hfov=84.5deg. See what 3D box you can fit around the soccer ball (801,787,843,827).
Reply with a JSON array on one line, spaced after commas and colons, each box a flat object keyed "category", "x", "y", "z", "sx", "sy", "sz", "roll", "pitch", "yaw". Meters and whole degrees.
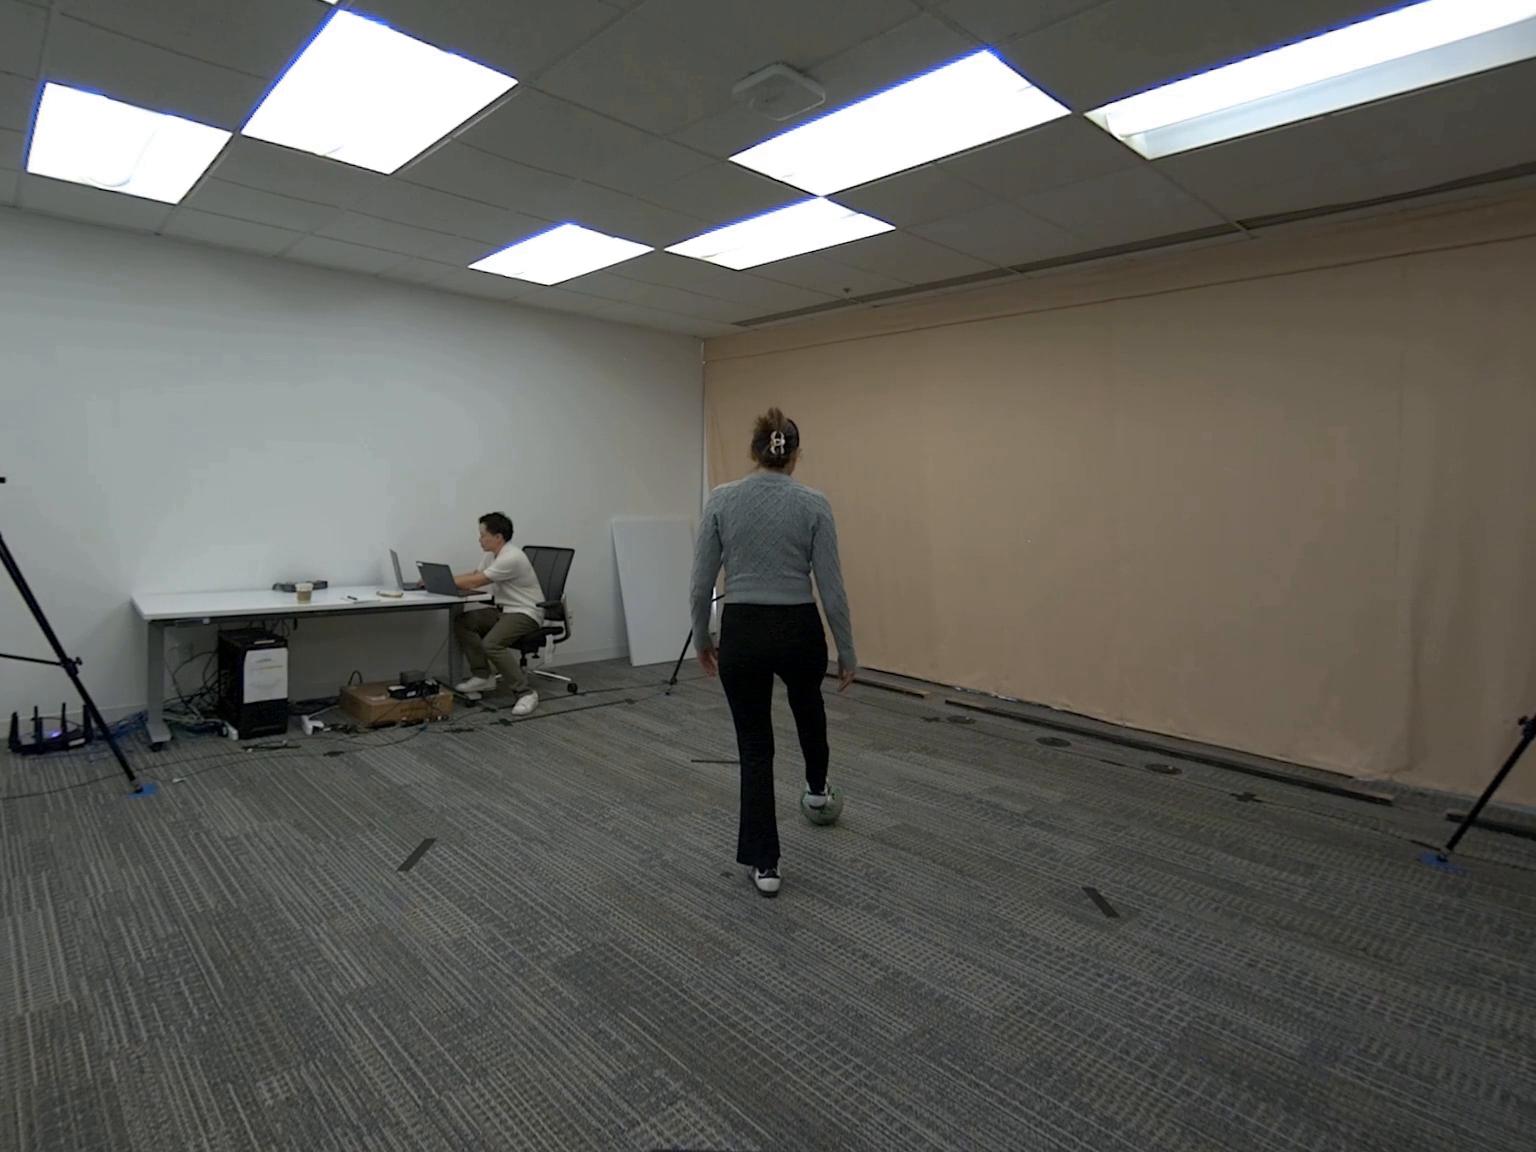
[{"category": "soccer ball", "x": 0.213, "y": 0.975, "z": 3.612, "sx": 0.187, "sy": 0.187, "sz": 0.188, "roll": 1, "pitch": 4, "yaw": -1}]
